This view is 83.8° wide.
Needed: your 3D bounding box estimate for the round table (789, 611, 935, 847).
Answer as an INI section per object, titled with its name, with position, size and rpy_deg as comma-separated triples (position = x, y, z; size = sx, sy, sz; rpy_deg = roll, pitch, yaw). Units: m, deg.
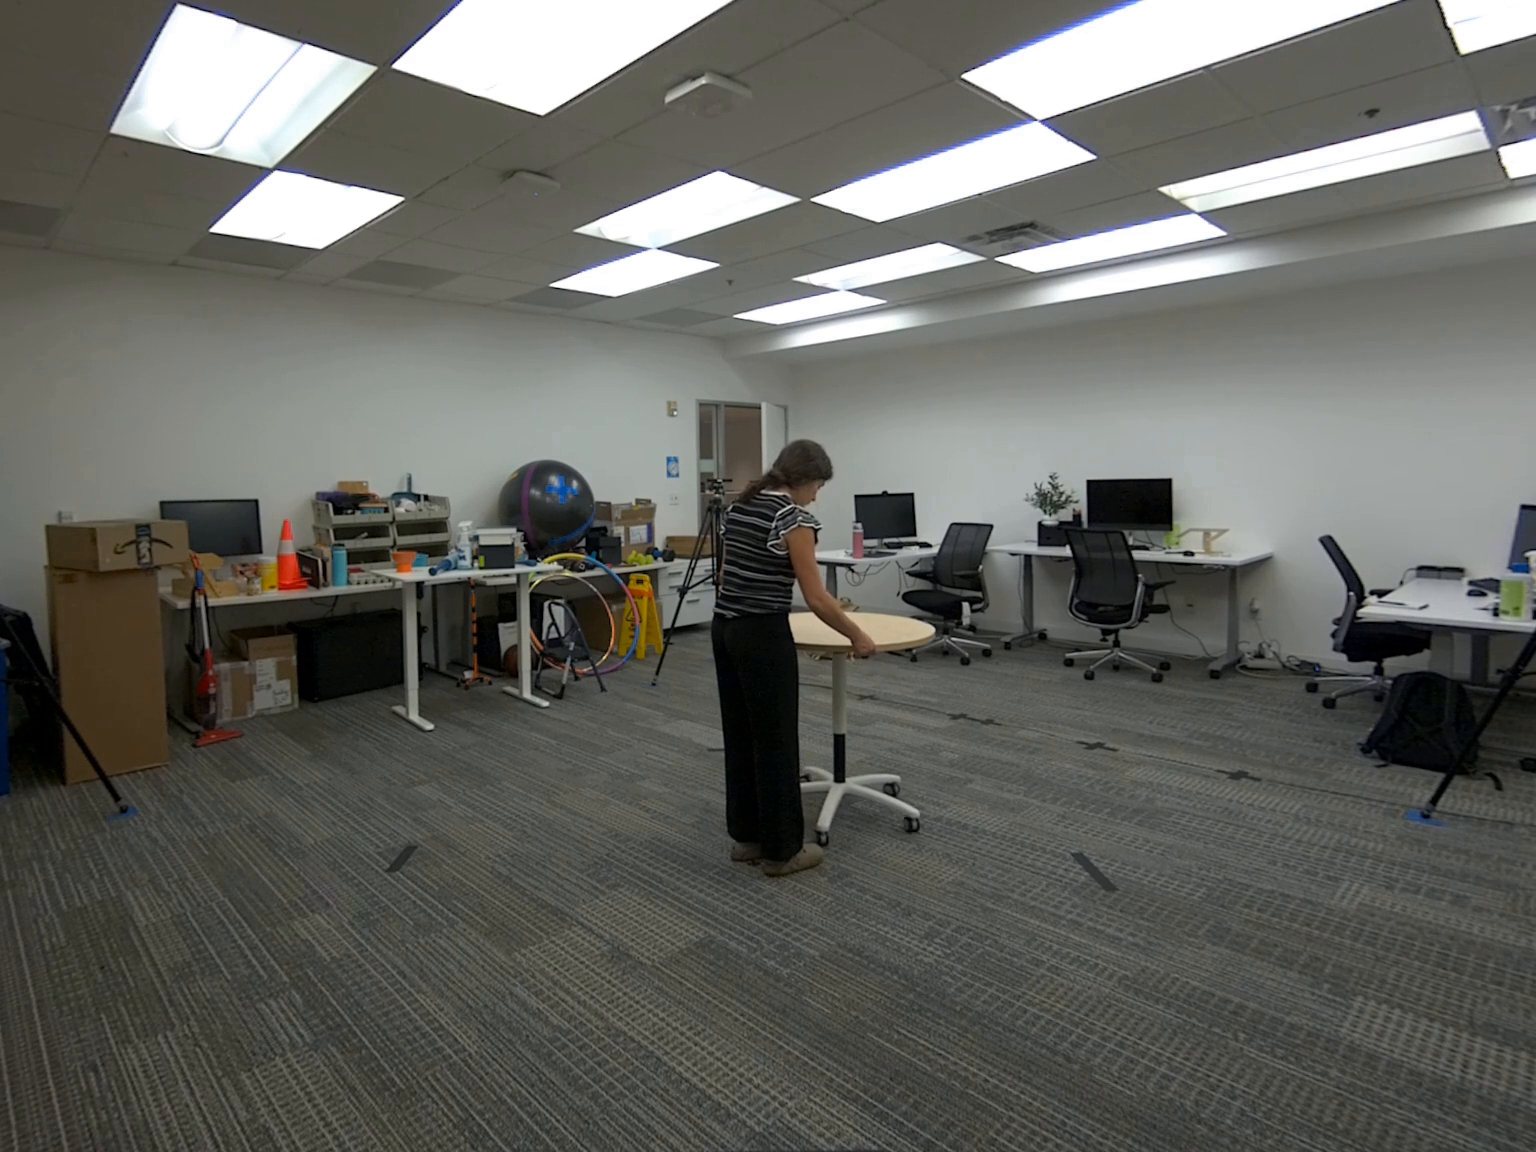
[round table]
position = 0.283, 0.598, 3.513
size = 0.784, 0.783, 0.789
rpy_deg = -1, 5, -2
